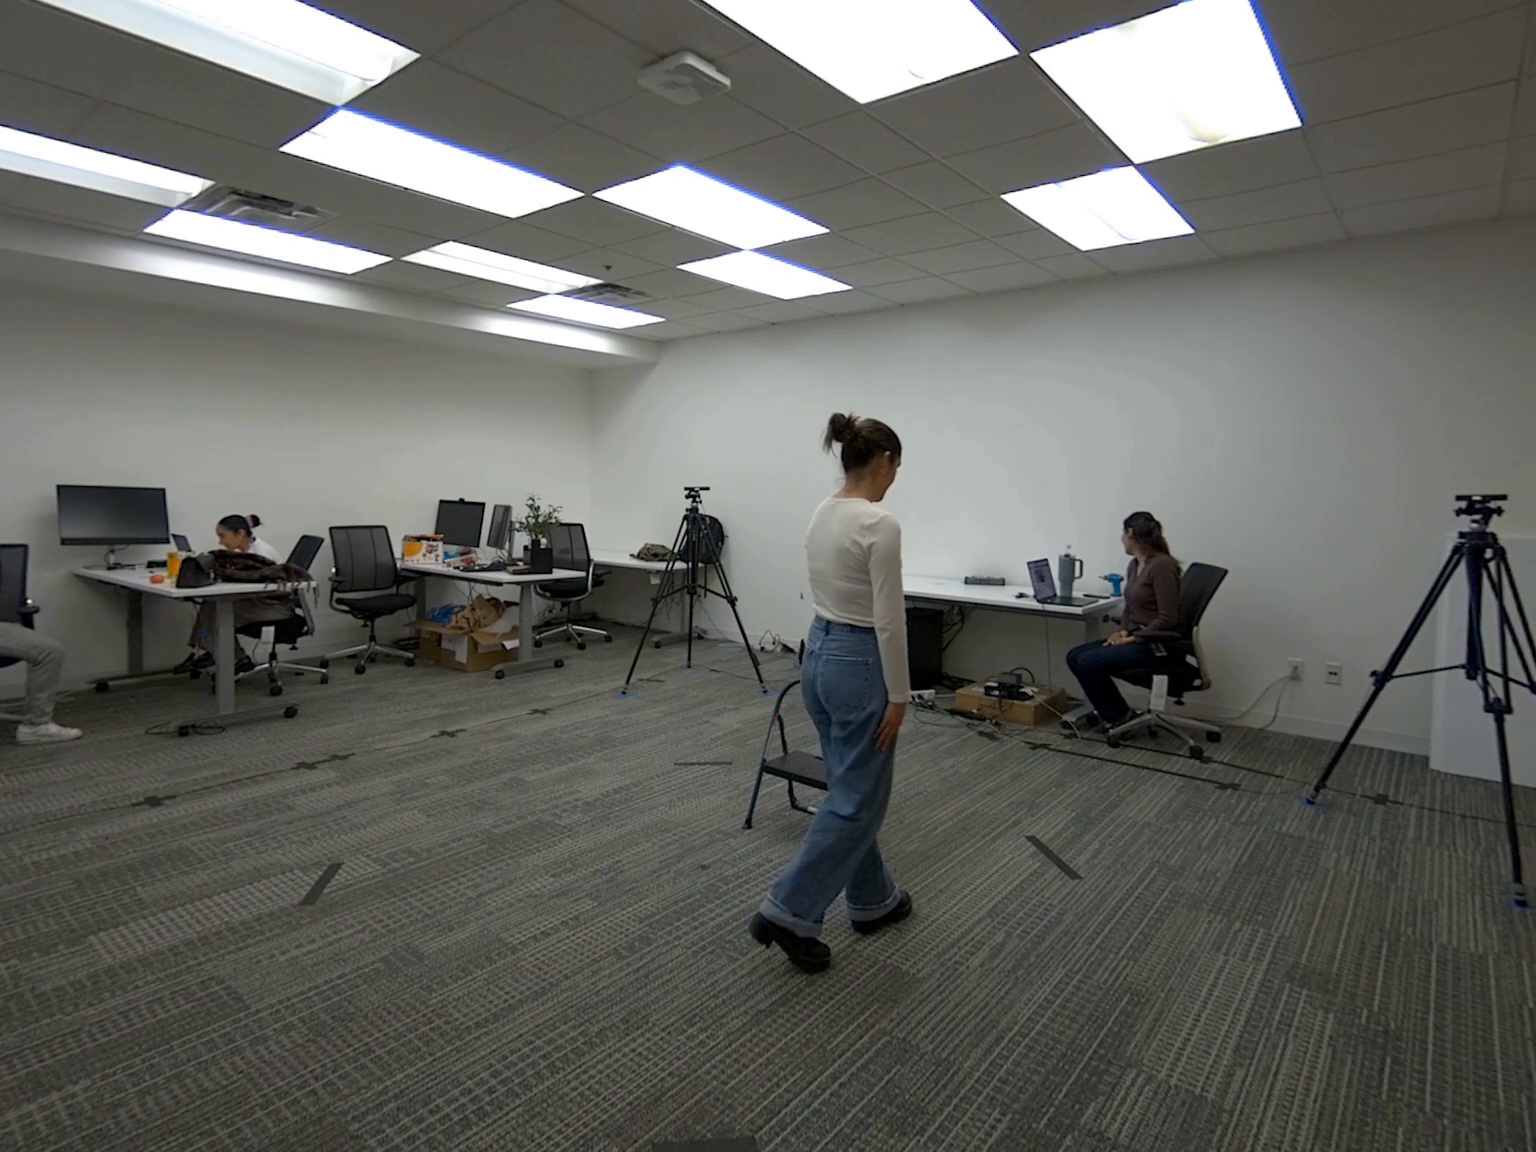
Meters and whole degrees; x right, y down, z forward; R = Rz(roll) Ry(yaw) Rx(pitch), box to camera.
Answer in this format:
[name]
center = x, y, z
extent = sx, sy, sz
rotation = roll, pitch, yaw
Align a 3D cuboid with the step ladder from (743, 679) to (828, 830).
[step ladder]
center = 0.165, 0.734, 3.465
extent = 0.445, 0.604, 0.339
rotation = 4, 4, 39
